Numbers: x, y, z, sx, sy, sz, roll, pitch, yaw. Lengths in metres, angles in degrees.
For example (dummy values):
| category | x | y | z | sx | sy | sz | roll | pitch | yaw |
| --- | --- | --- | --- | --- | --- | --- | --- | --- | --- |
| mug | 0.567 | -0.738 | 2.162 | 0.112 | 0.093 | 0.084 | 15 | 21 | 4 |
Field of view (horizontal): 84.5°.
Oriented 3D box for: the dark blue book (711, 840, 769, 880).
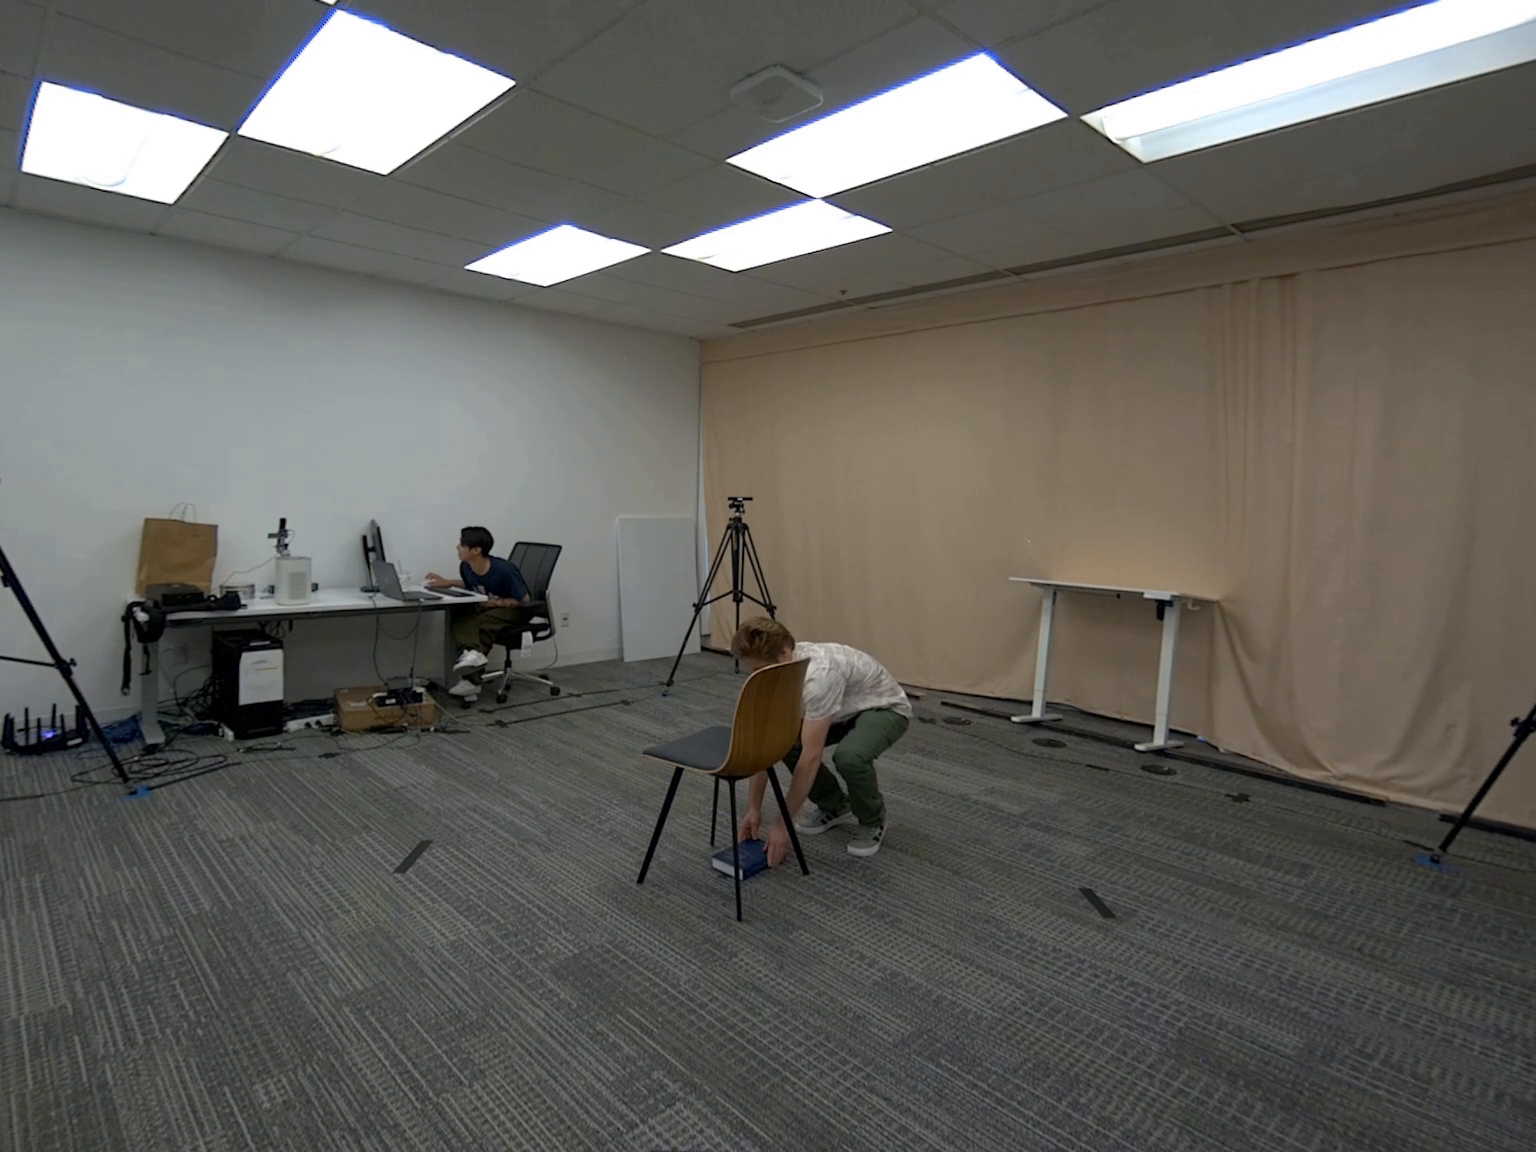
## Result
| category | x | y | z | sx | sy | sz | roll | pitch | yaw |
| --- | --- | --- | --- | --- | --- | --- | --- | --- | --- |
| dark blue book | -0.083 | 1.072 | 3.201 | 0.167 | 0.045 | 0.240 | 5 | 7 | 42 |
